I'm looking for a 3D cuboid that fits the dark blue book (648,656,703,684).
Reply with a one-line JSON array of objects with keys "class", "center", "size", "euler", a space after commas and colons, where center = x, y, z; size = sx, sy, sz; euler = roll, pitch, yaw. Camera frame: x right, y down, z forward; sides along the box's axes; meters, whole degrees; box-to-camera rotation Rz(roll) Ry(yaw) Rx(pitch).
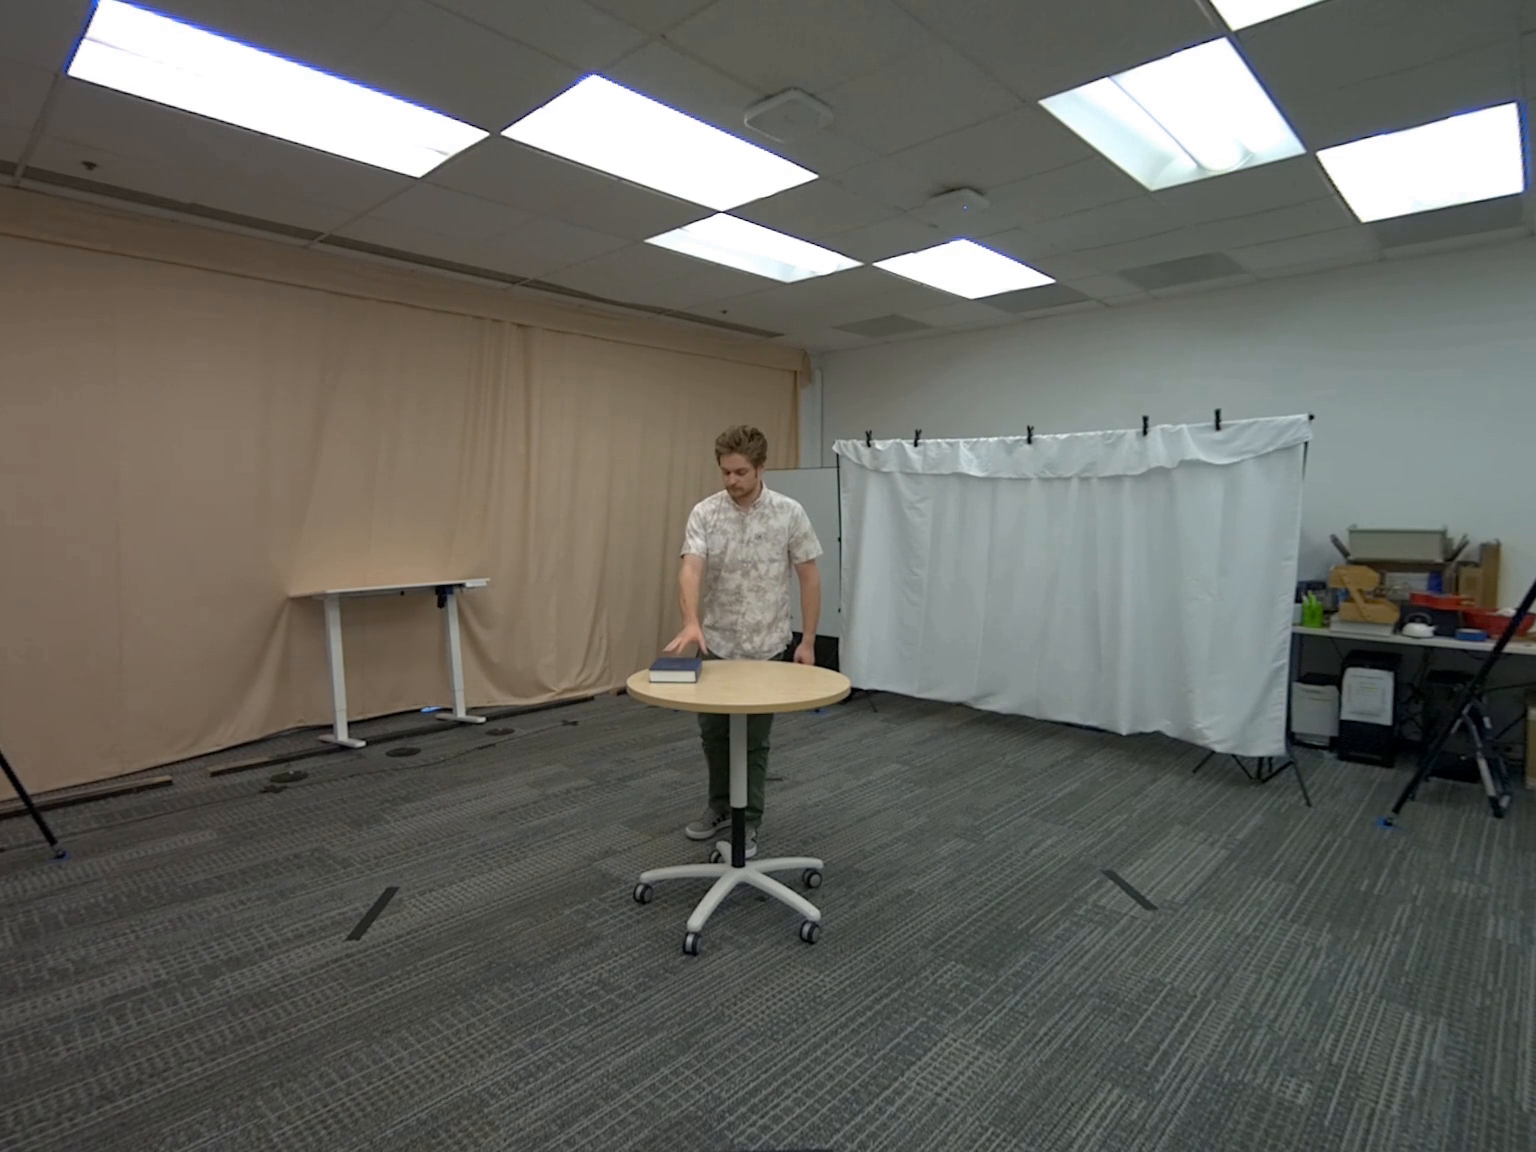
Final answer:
[{"class": "dark blue book", "center": [-0.321, 0.326, 2.968], "size": [0.164, 0.045, 0.245], "euler": [0, 5, 2]}]
